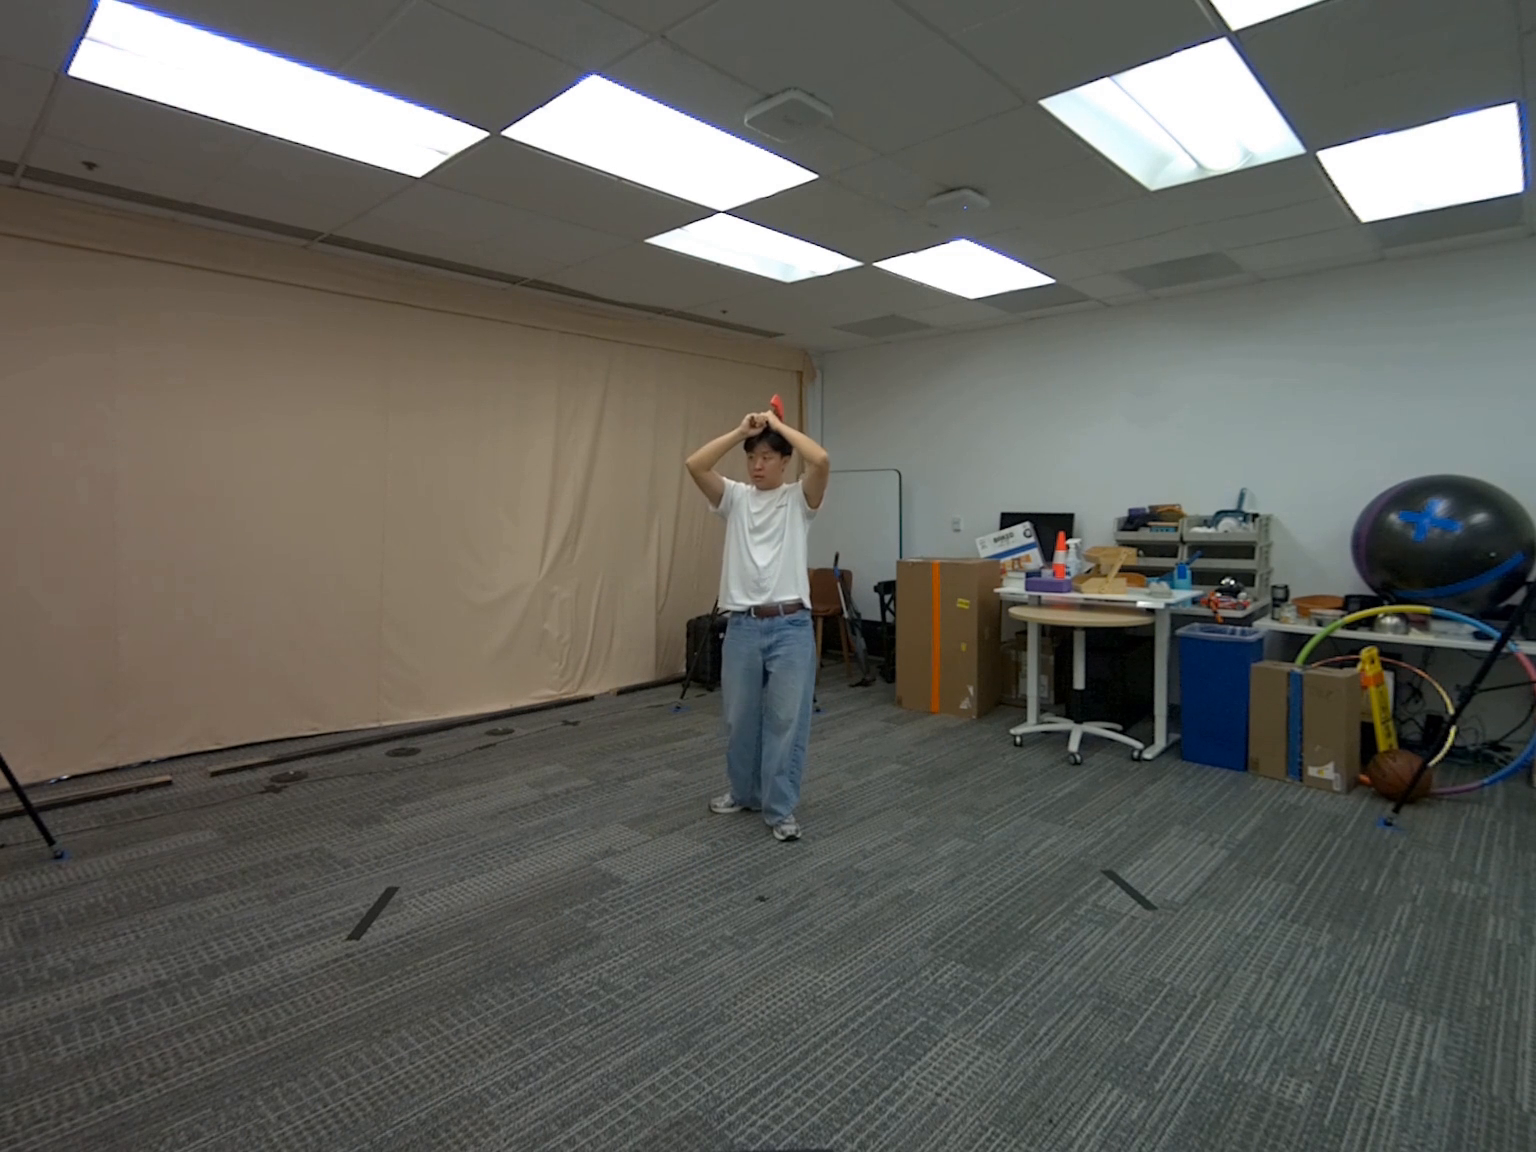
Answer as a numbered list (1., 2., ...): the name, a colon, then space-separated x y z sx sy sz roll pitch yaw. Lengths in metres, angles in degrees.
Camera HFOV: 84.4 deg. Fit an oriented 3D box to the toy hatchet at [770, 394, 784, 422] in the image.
1. toy hatchet: 0.001 -0.714 3.620 0.030 0.130 0.264 5 12 29
